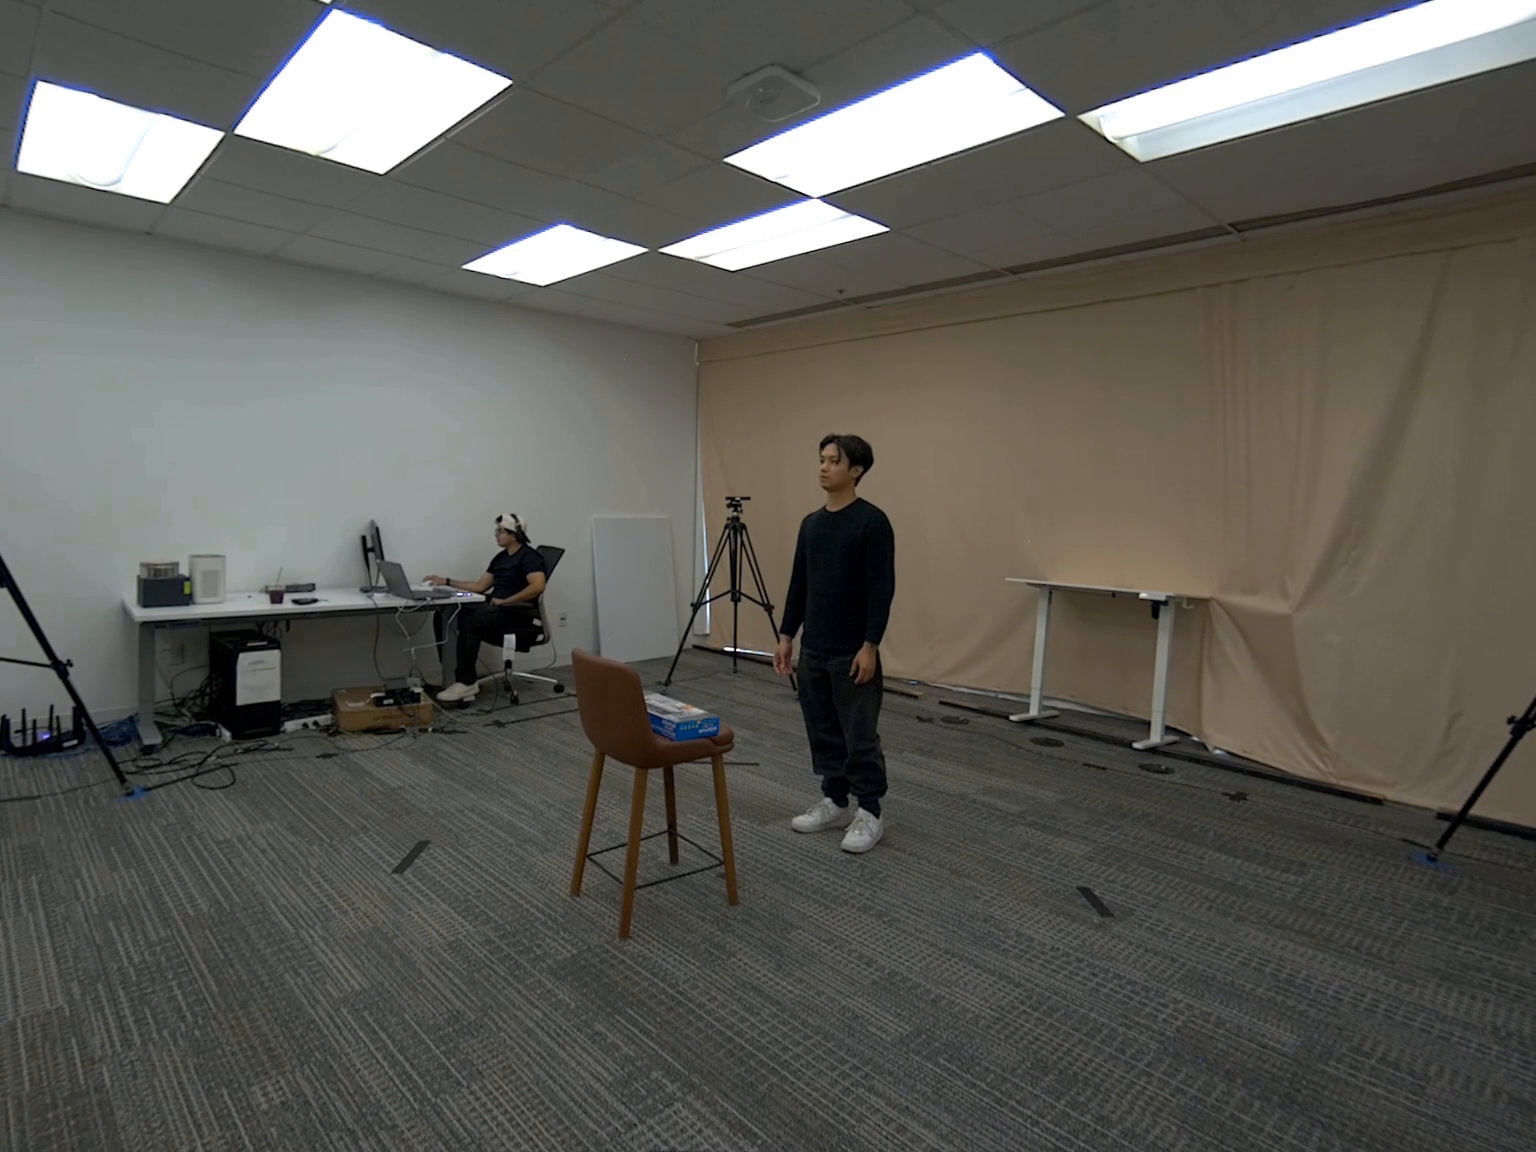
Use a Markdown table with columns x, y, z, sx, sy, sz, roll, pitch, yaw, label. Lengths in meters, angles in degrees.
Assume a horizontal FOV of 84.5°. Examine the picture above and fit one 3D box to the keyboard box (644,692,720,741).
| x | y | z | sx | sy | sz | roll | pitch | yaw | label |
| --- | --- | --- | --- | --- | --- | --- | --- | --- | --- |
| -0.371 | 0.474 | 2.902 | 0.172 | 0.059 | 0.448 | -2 | 6 | -39 | keyboard box |
